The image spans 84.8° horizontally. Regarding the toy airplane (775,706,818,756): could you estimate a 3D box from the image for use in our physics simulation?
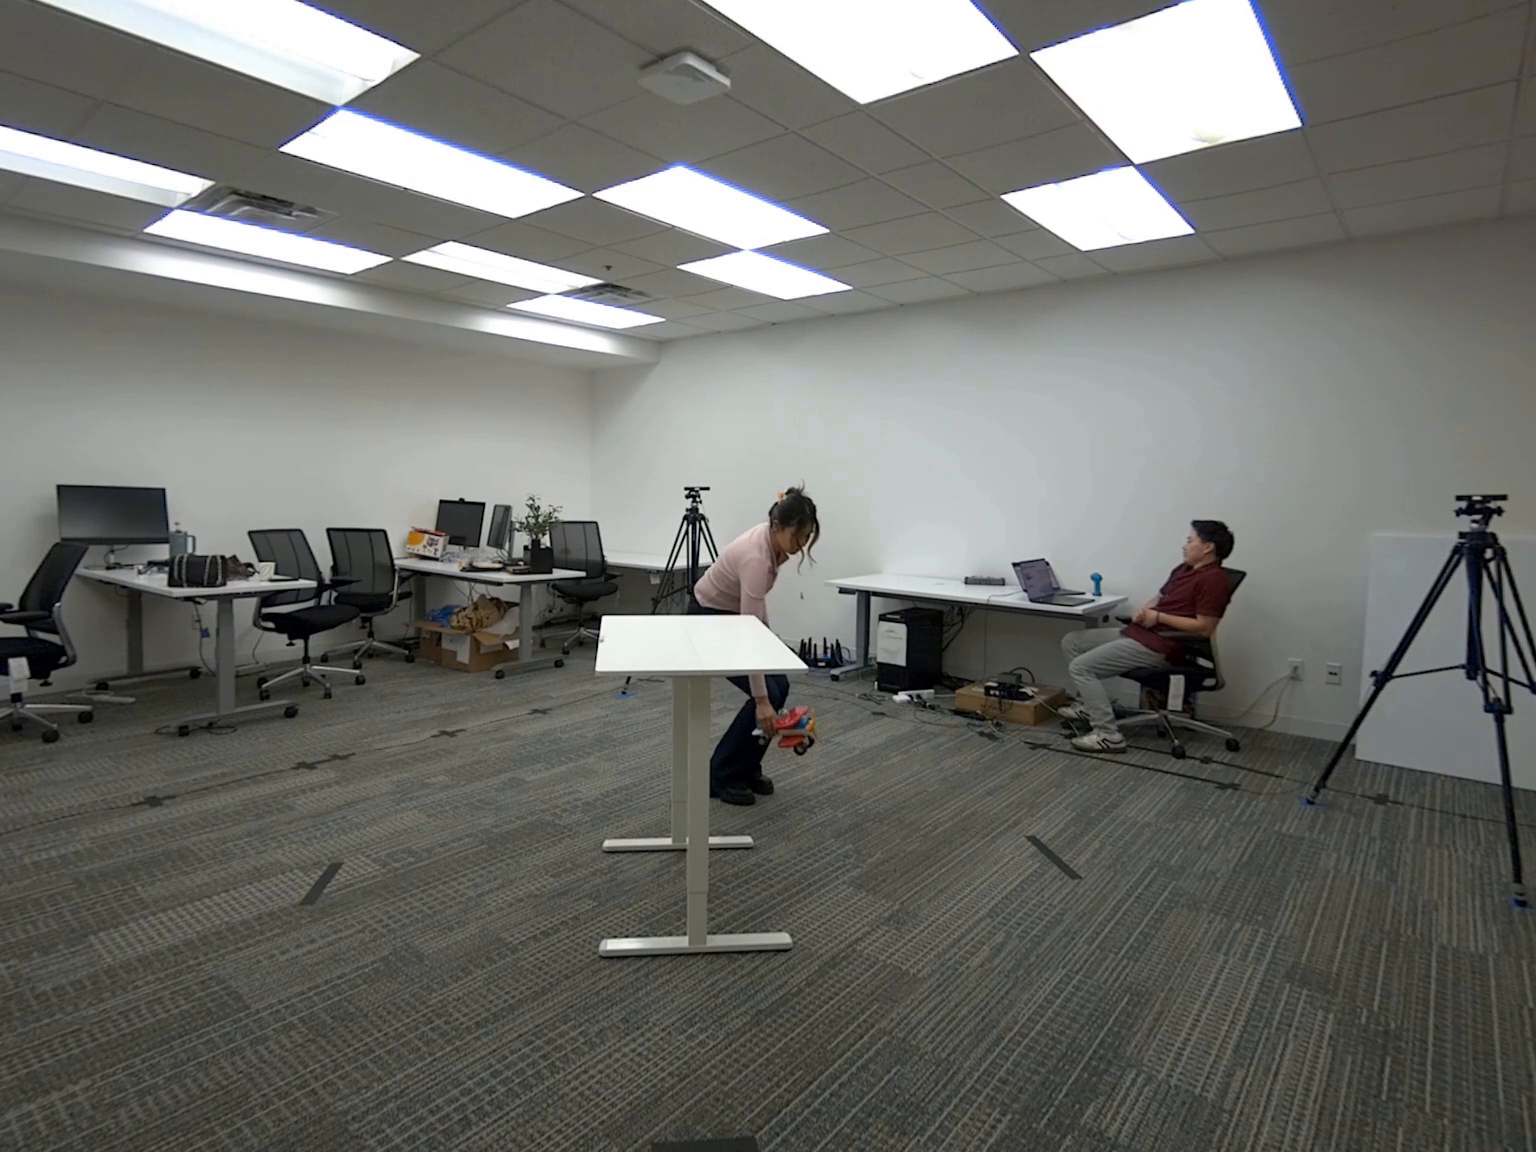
[{"bbox_3d":[0.061,0.635,3.495,0.258,0.155,0.254,0,10,-4],"label":"toy airplane"}]
